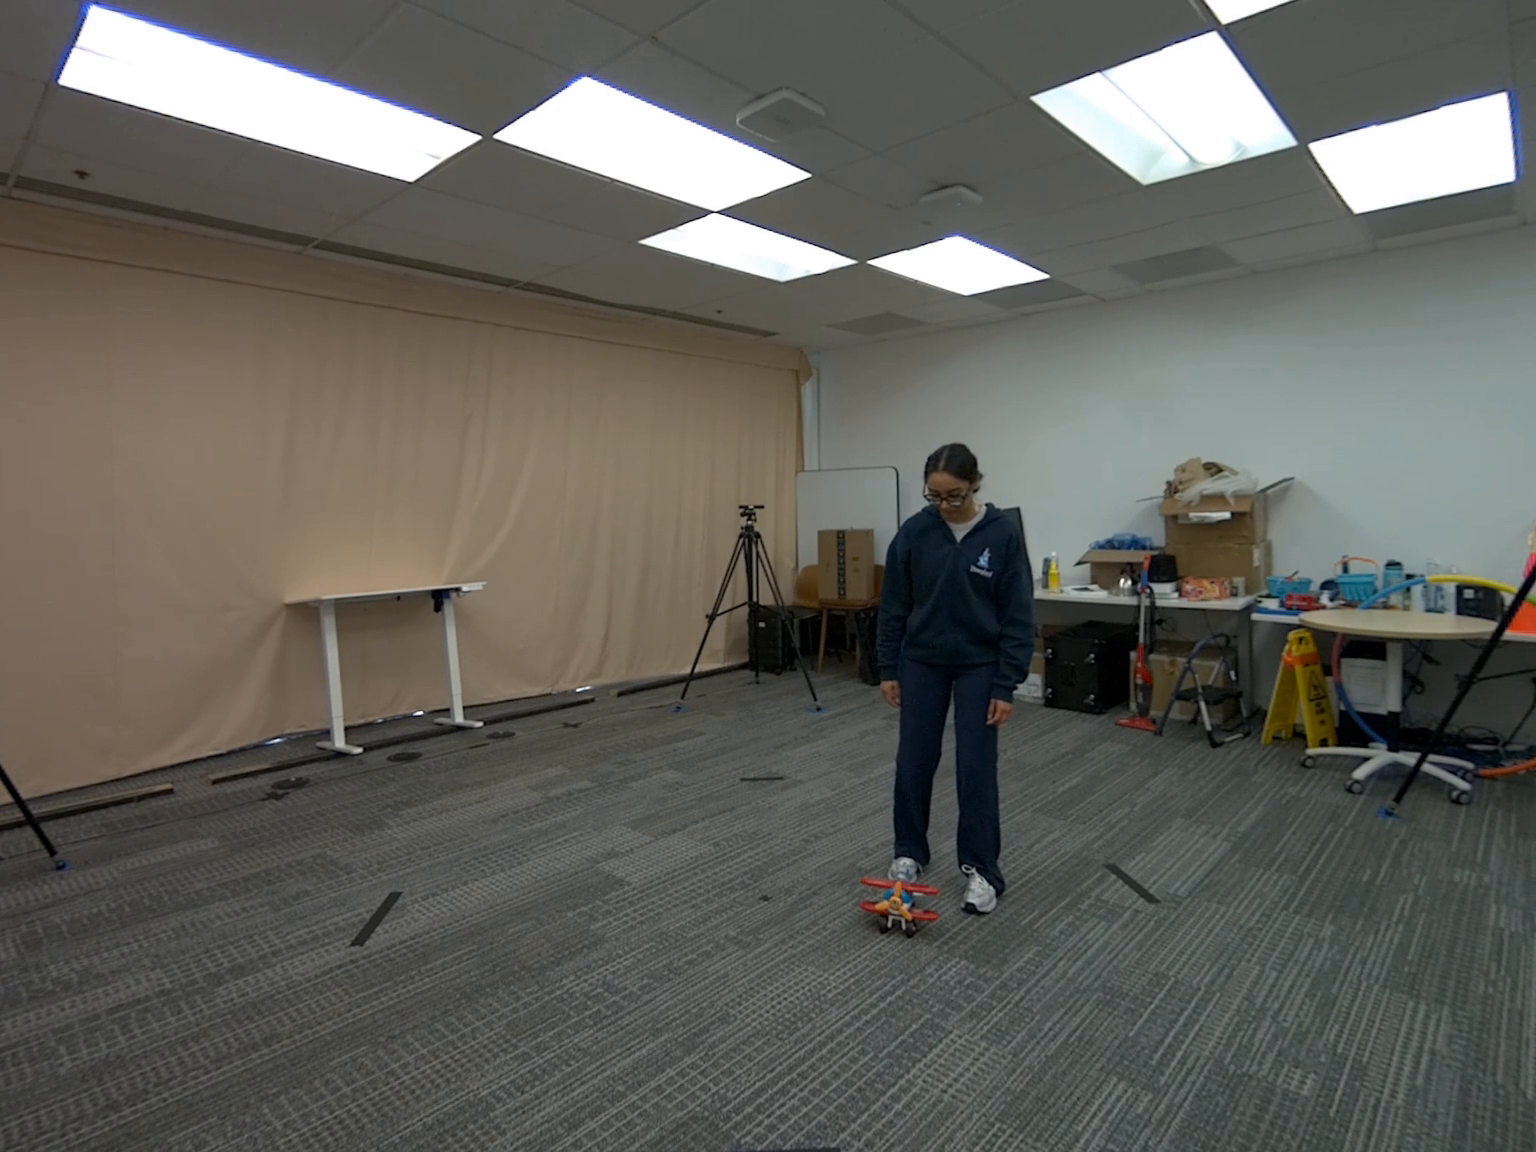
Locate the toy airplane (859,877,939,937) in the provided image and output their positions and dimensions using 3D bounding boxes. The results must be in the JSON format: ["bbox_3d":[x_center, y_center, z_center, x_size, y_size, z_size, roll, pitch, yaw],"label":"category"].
[{"bbox_3d":[0.427,1.075,2.793,0.249,0.156,0.262,0,5,-10],"label":"toy airplane"}]
